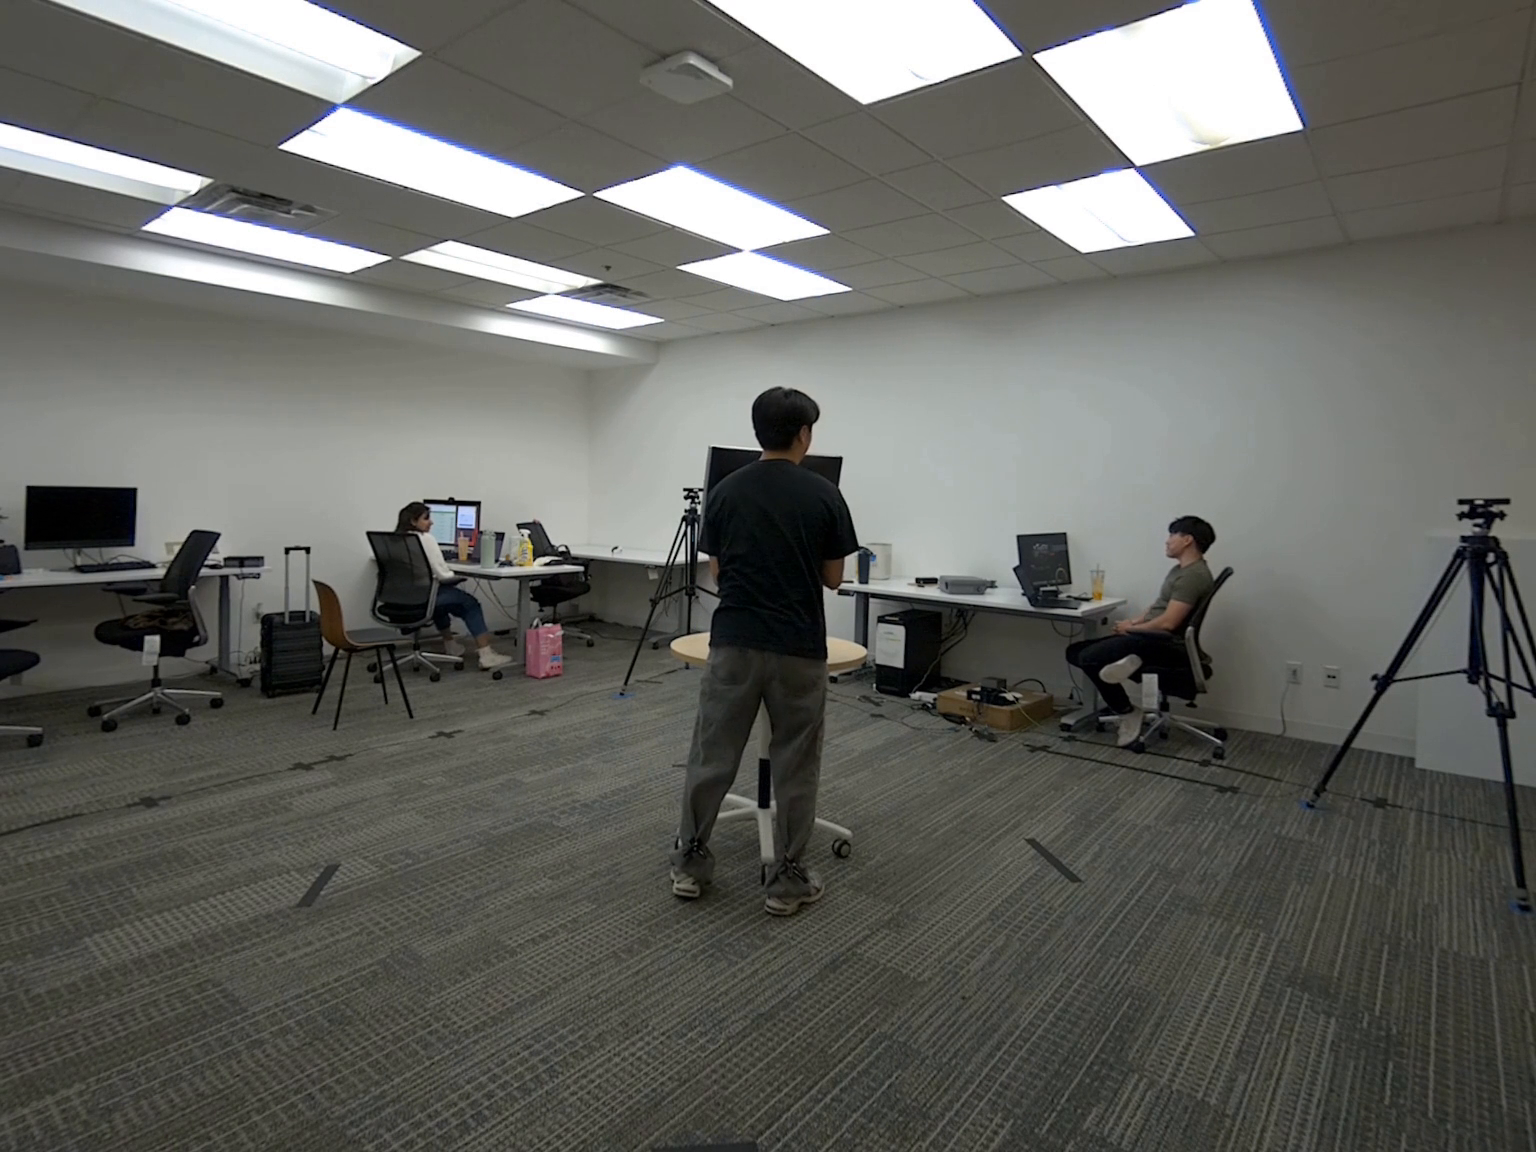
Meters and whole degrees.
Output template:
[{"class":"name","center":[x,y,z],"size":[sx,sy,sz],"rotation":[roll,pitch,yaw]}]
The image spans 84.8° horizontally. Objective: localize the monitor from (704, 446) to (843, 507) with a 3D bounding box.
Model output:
[{"class":"monitor","center":[0.018,-0.190,3.206],"size":[0.550,0.568,0.226],"rotation":[2,-4,-20]}]
